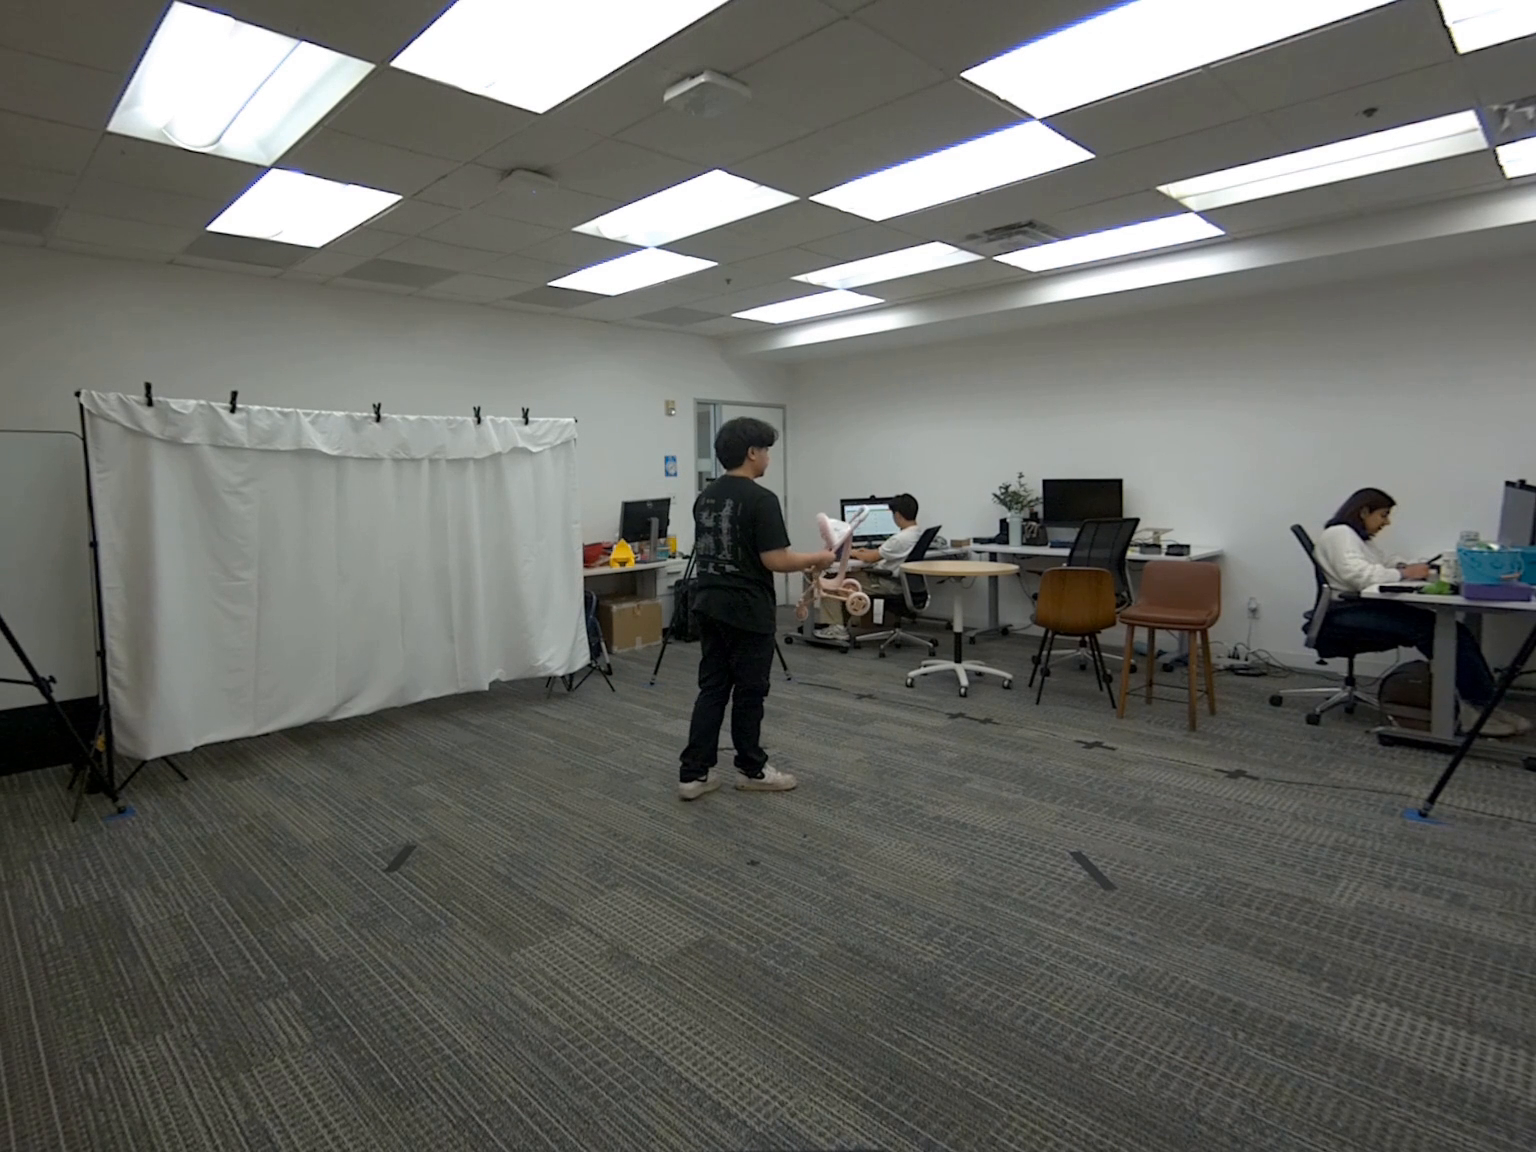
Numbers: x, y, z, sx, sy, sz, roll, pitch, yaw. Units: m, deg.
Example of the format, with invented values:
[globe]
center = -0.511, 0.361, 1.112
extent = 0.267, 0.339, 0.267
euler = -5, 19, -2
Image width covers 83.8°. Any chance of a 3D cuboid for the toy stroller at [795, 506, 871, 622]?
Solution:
[toy stroller]
center = 0.284, -0.052, 3.920
extent = 0.343, 0.529, 0.283
euler = 0, 11, 4
